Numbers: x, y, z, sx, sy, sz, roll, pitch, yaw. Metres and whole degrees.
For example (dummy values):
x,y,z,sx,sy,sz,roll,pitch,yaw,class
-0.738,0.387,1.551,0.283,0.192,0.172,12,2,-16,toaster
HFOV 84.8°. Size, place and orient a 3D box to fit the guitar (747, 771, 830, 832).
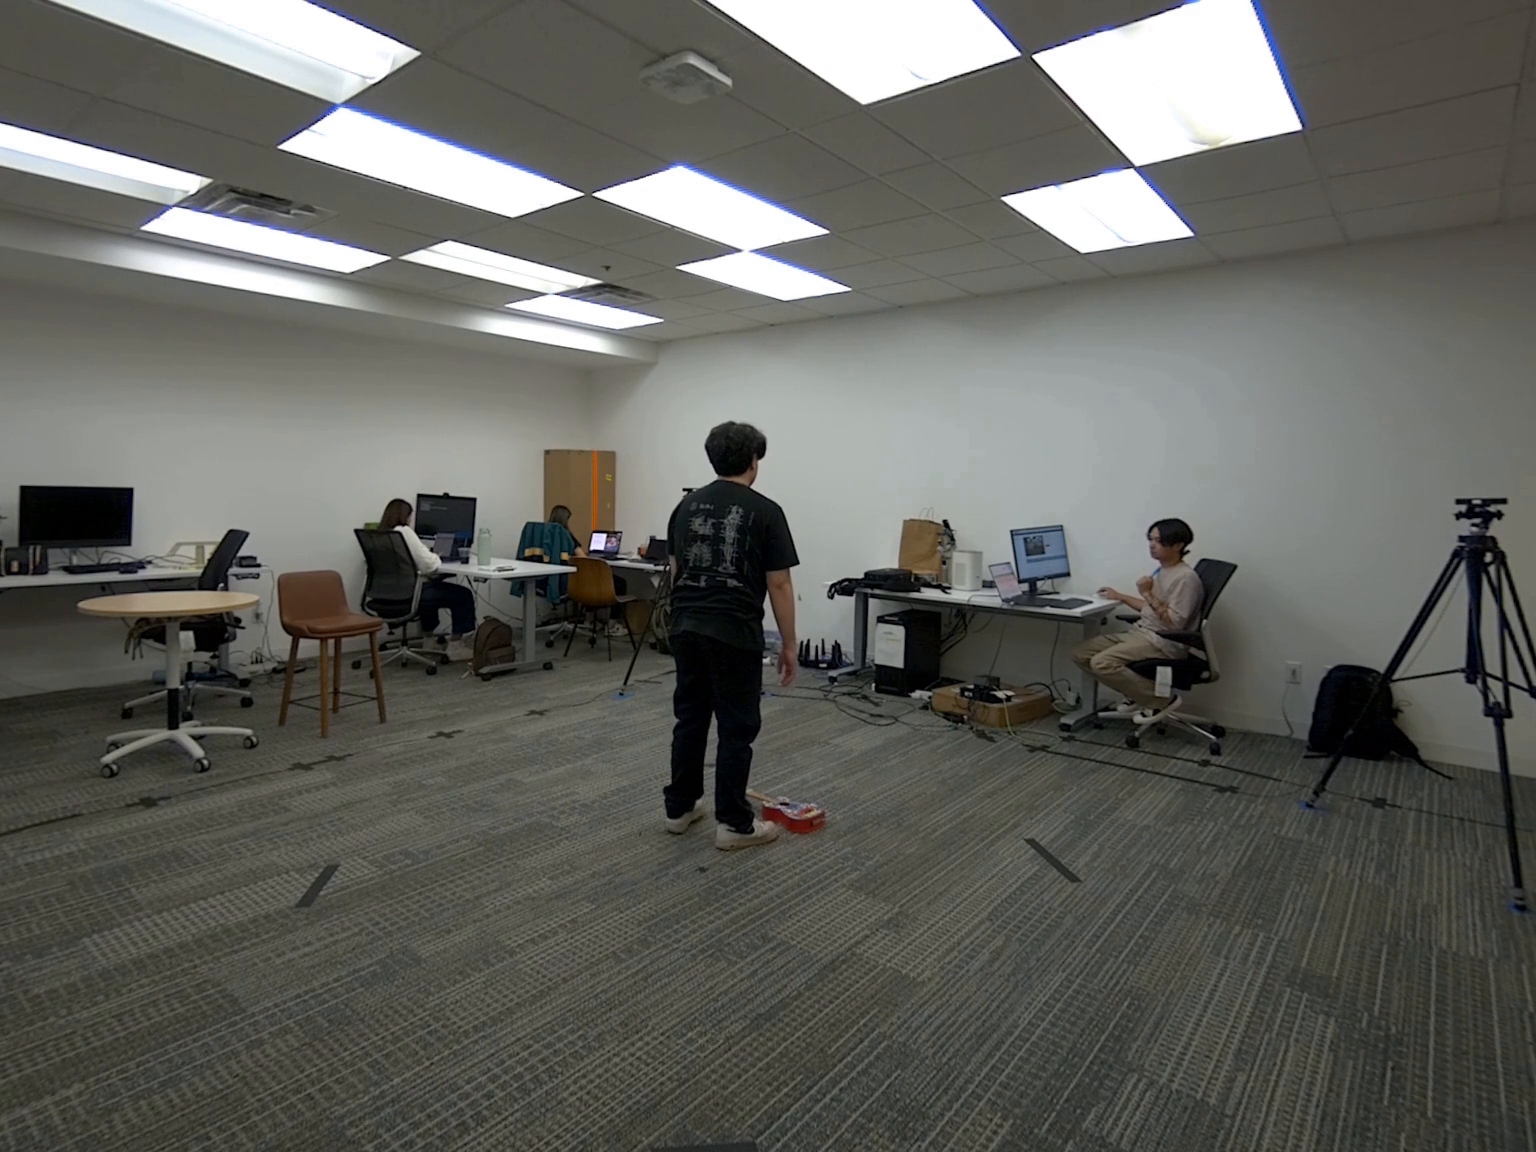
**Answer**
x,y,z,sx,sy,sz,roll,pitch,yaw,class
0.018,0.975,3.675,0.187,0.070,0.515,-3,7,-40,guitar
